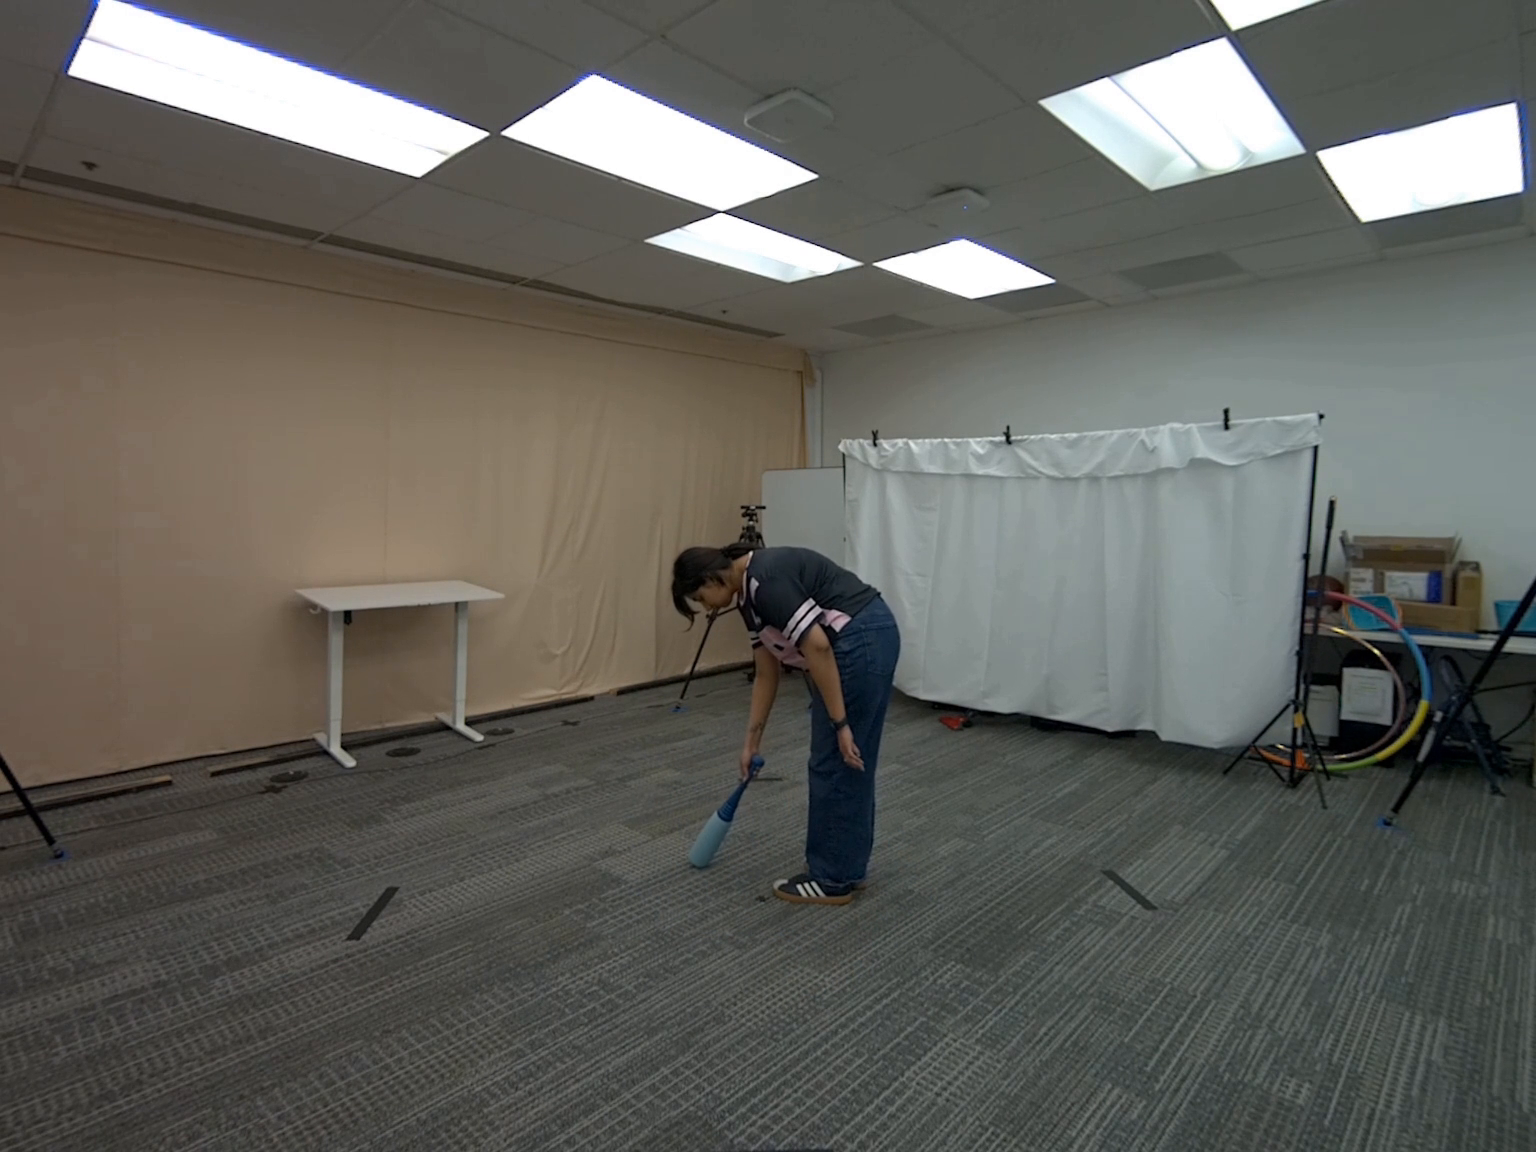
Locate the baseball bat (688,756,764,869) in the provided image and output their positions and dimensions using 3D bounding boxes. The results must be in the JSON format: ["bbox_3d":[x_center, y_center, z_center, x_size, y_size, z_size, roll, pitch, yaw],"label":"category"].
[{"bbox_3d":[-0.149,0.894,3.171,0.088,0.543,0.090,25,22,-13],"label":"baseball bat"}]
